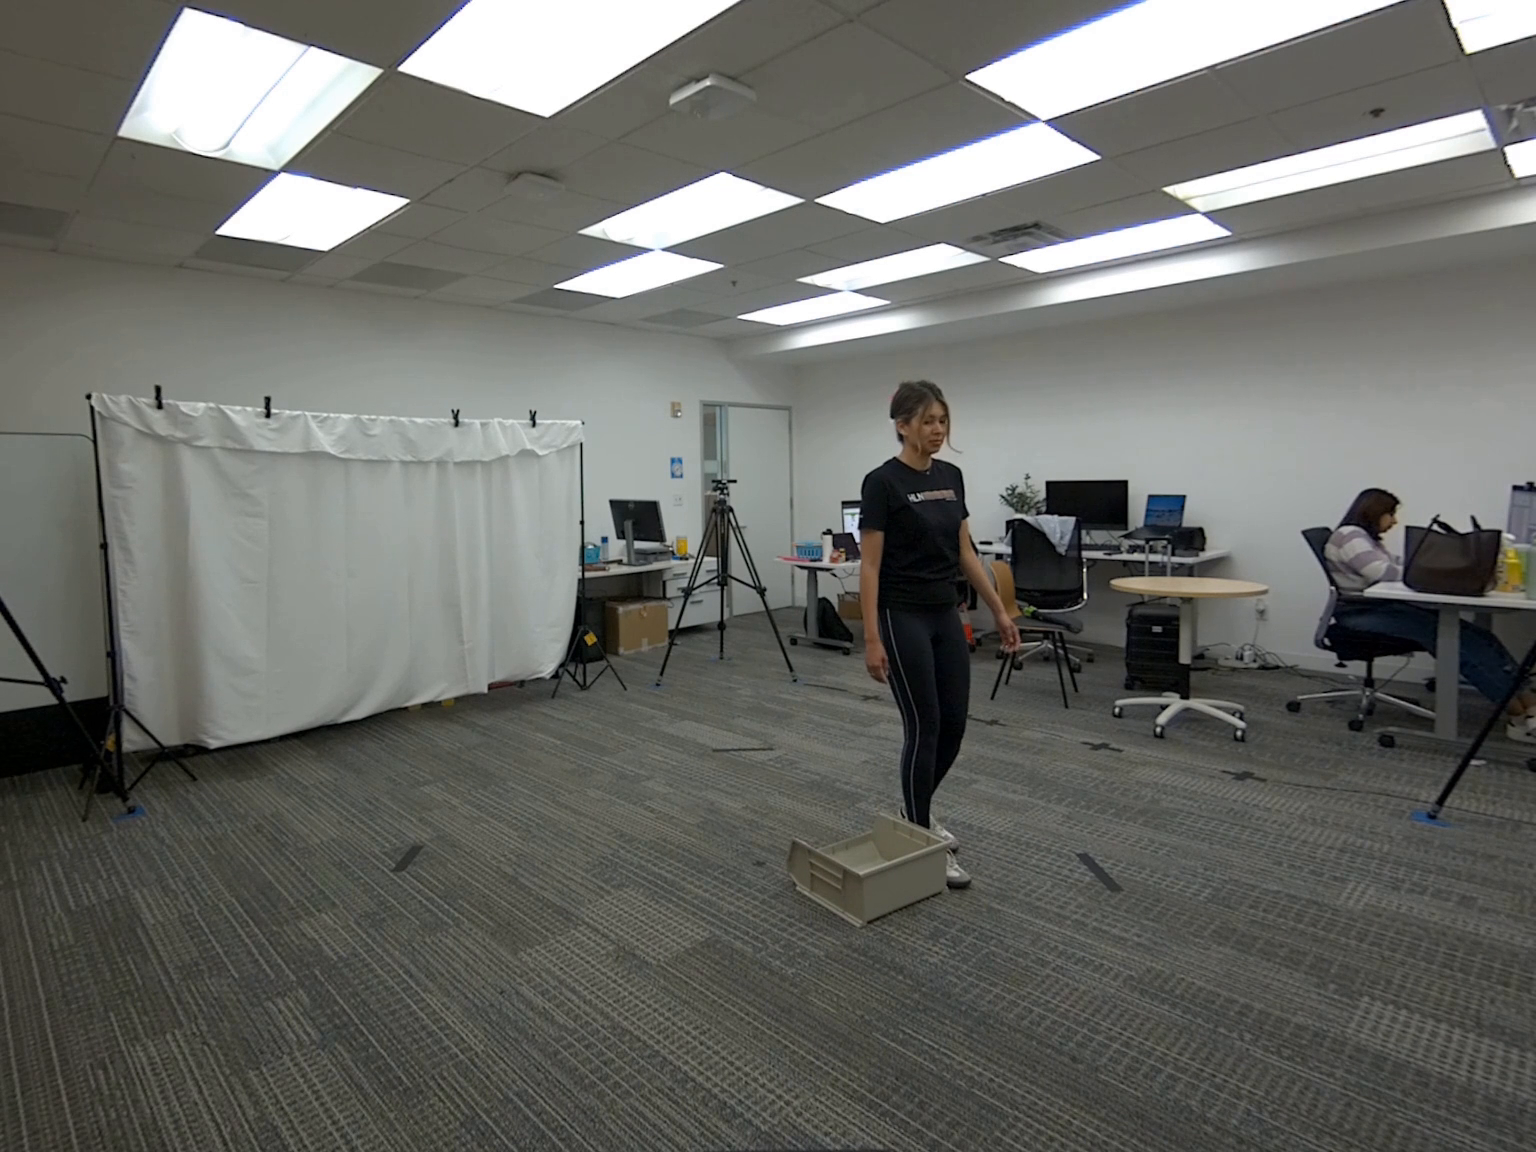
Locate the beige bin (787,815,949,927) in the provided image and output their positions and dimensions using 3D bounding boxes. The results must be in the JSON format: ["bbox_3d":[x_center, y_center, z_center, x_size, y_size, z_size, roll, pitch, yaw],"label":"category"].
[{"bbox_3d":[0.344,0.976,2.901,0.411,0.188,0.389,-4,7,-35],"label":"beige bin"}]
